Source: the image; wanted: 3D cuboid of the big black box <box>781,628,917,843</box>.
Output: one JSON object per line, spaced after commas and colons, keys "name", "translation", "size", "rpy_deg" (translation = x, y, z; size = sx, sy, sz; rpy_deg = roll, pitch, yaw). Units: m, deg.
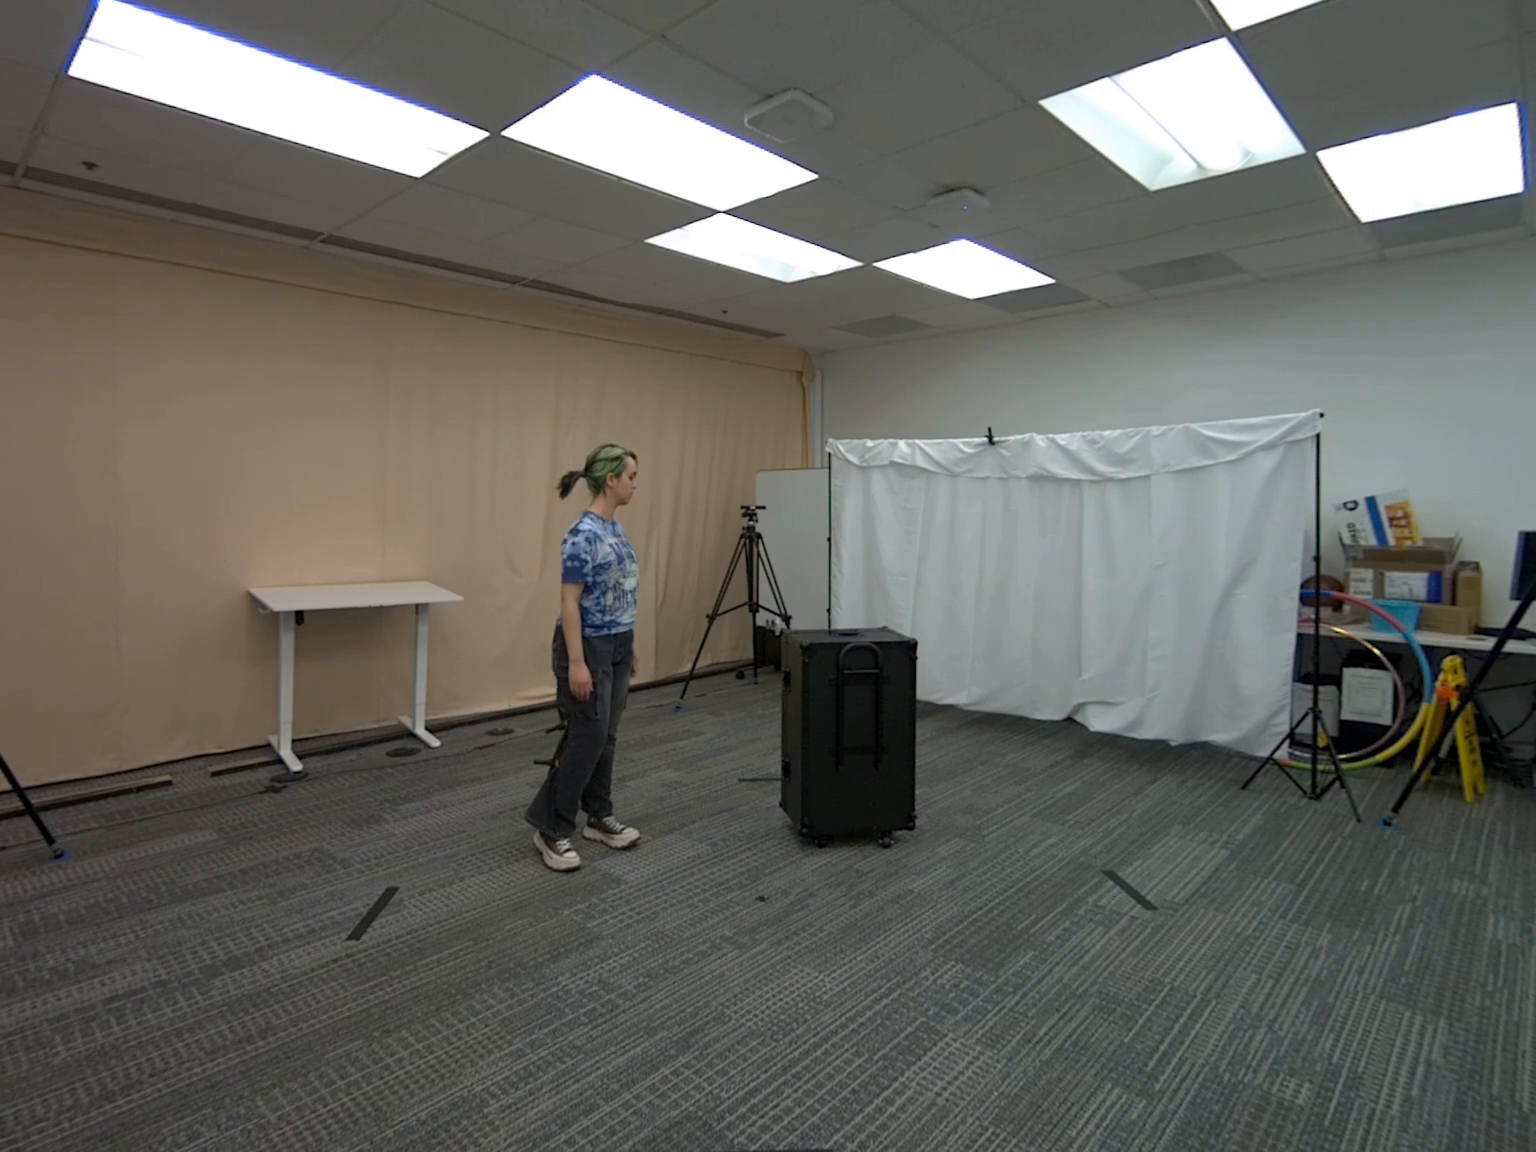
{"name": "big black box", "translation": [0.337, 0.674, 3.541], "size": [0.517, 0.859, 0.401], "rpy_deg": [0, 4, -9]}
